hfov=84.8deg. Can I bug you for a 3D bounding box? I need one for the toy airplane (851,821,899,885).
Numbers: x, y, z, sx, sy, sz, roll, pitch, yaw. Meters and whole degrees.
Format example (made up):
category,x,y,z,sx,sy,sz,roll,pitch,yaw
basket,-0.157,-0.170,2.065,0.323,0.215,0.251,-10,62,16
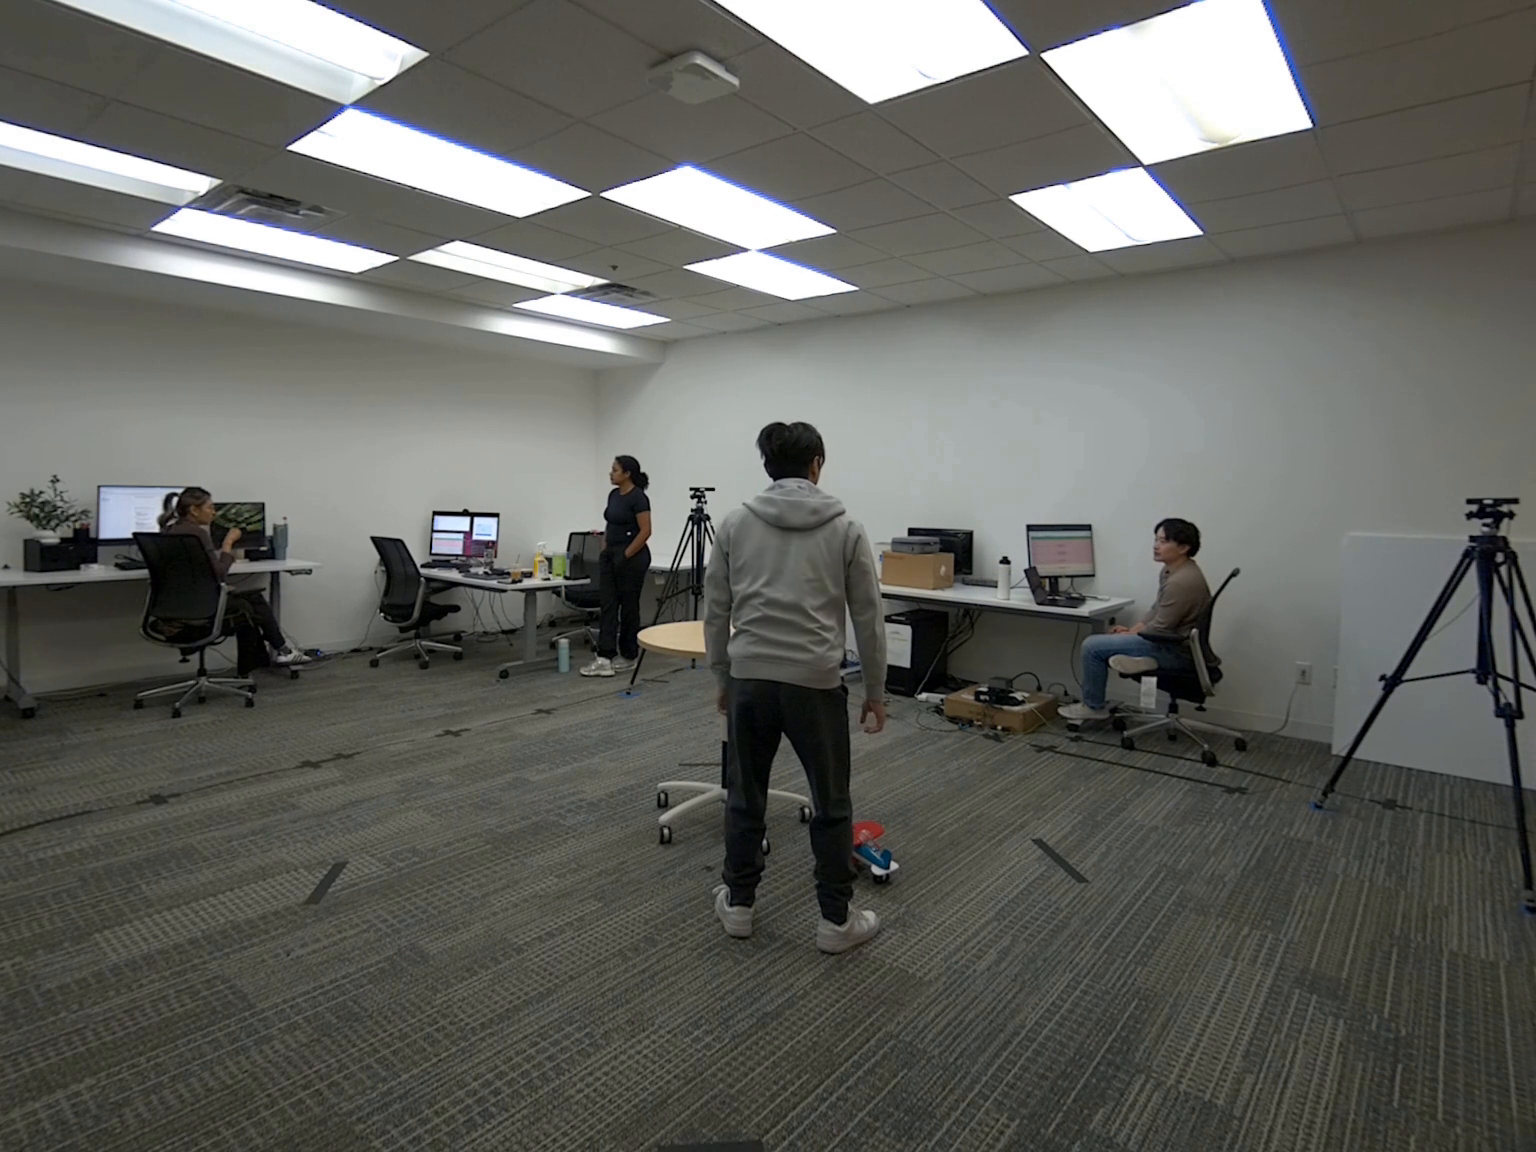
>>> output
category,x,y,z,sx,sy,sz,roll,pitch,yaw
toy airplane,0.349,1.005,3.114,0.265,0.156,0.246,2,4,22
